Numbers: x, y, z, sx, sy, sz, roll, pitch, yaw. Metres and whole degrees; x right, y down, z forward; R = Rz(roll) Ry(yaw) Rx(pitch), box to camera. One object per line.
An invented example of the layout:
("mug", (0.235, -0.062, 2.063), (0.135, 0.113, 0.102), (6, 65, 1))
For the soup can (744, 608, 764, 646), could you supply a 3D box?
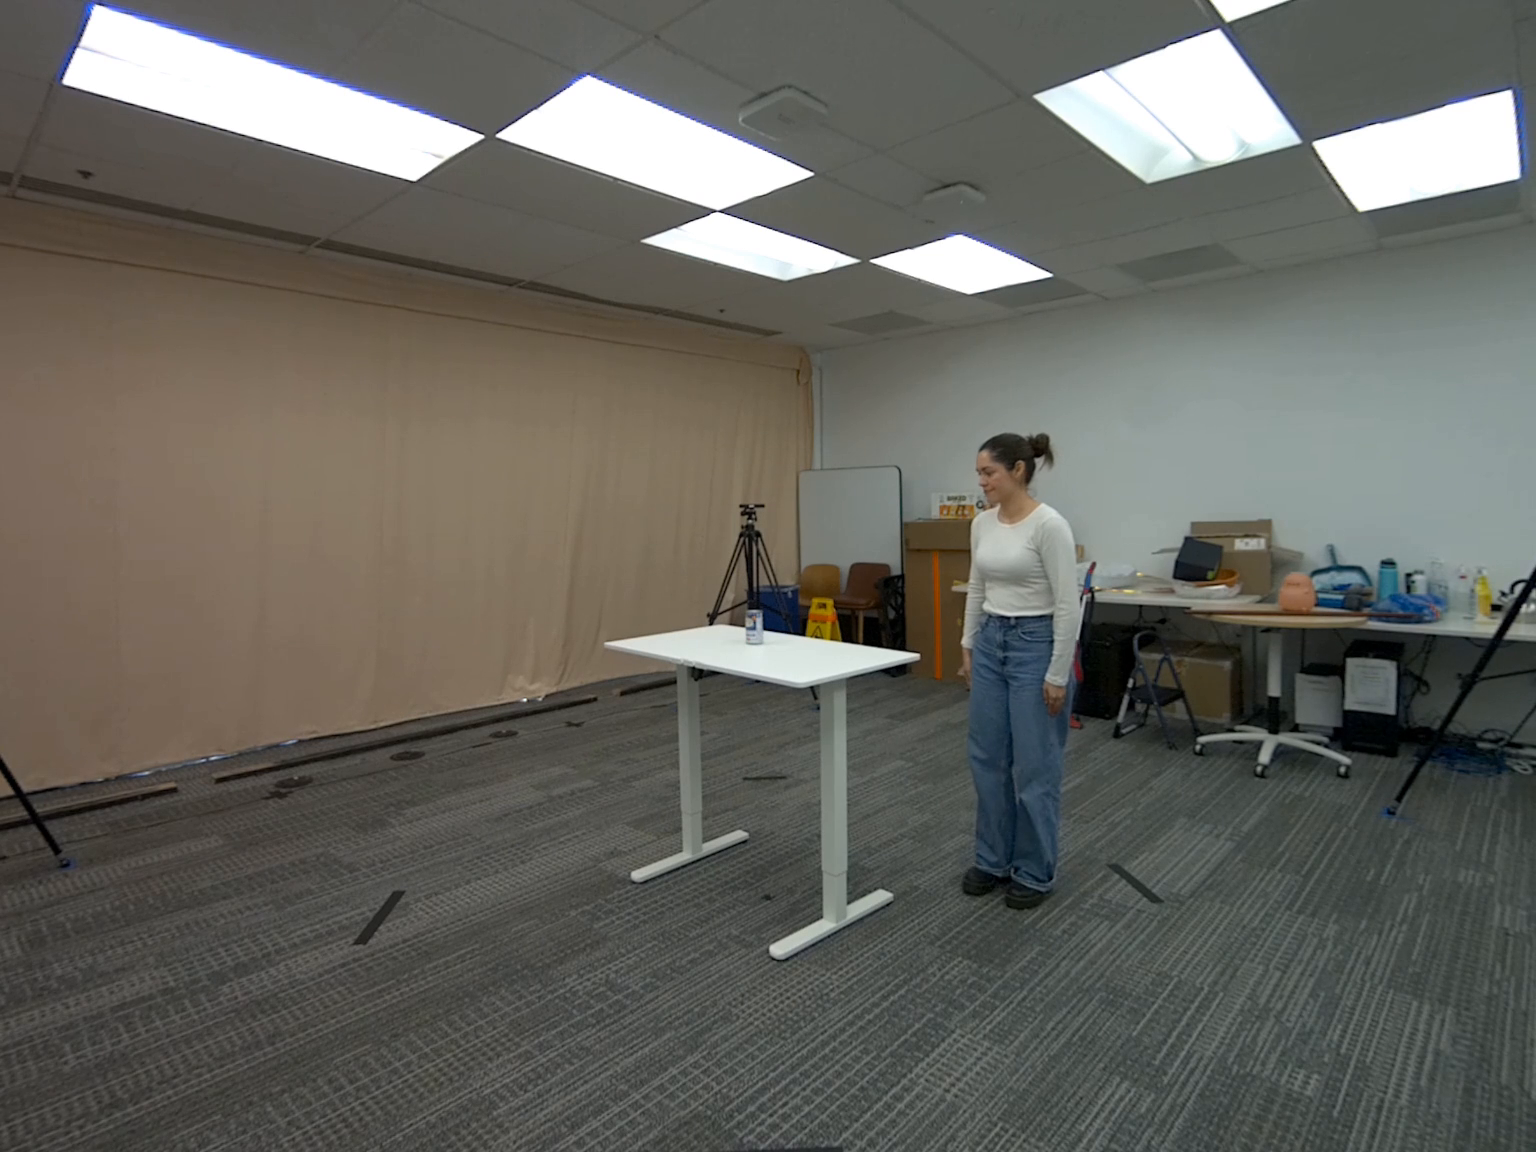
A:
("soup can", (-0.039, 0.192, 3.093), (0.067, 0.121, 0.067), (2, 4, -2))
